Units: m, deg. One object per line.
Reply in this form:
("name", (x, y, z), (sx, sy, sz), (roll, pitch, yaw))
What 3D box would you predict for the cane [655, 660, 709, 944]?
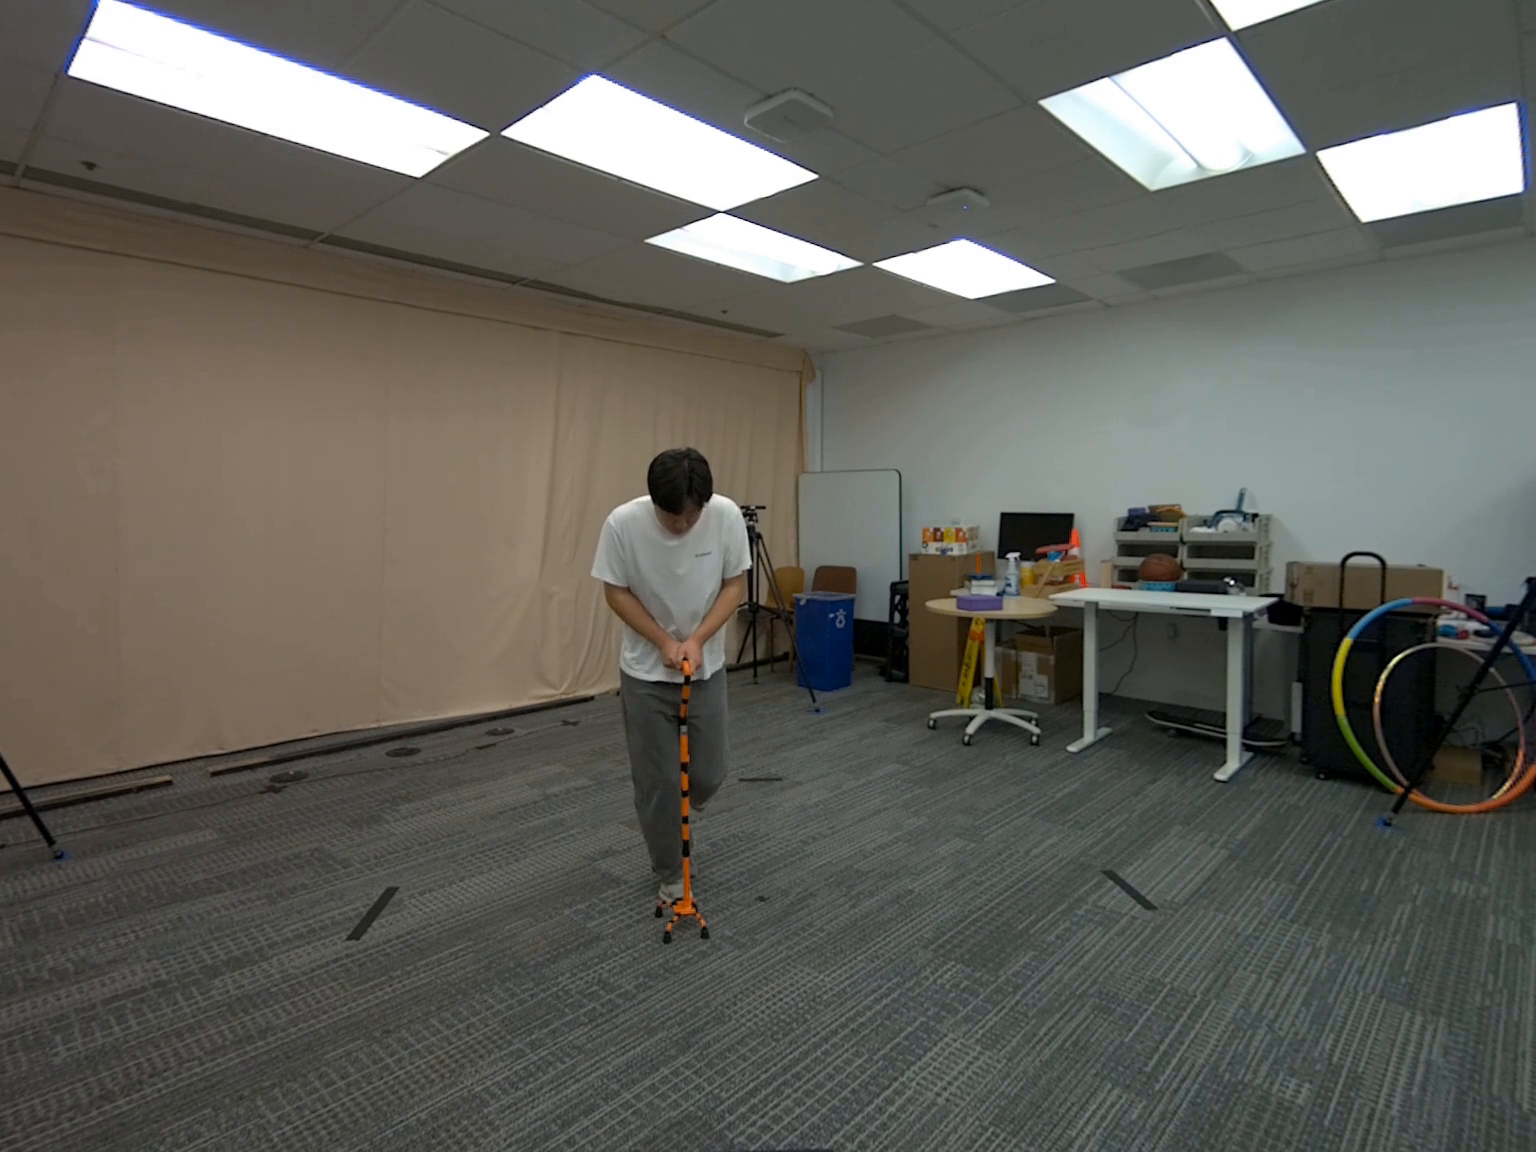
("cane", (-0.288, 0.713, 2.766), (0.149, 0.906, 0.210), (-1, 4, -17))
